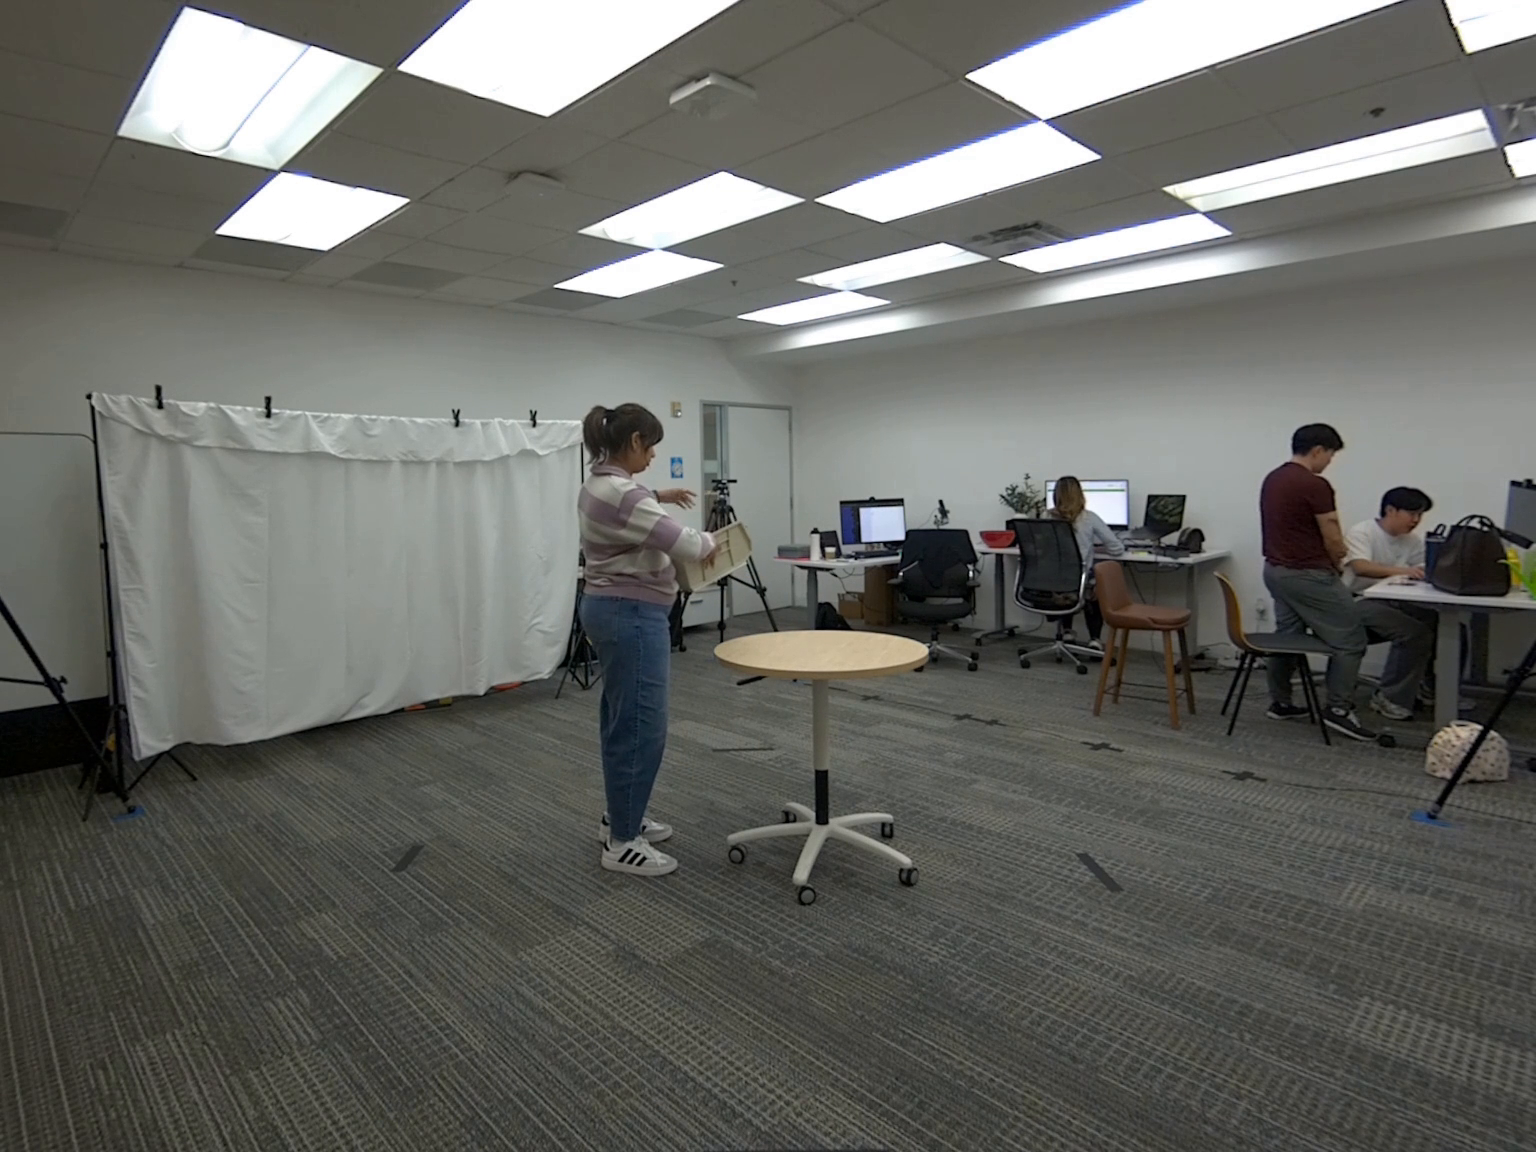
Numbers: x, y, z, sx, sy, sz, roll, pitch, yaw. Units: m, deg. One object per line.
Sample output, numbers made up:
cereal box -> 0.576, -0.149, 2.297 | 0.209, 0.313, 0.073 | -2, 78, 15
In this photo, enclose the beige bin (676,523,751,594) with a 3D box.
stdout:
beige bin -> -0.333, -0.087, 3.396 | 0.435, 0.186, 0.372 | 3, 21, 42
